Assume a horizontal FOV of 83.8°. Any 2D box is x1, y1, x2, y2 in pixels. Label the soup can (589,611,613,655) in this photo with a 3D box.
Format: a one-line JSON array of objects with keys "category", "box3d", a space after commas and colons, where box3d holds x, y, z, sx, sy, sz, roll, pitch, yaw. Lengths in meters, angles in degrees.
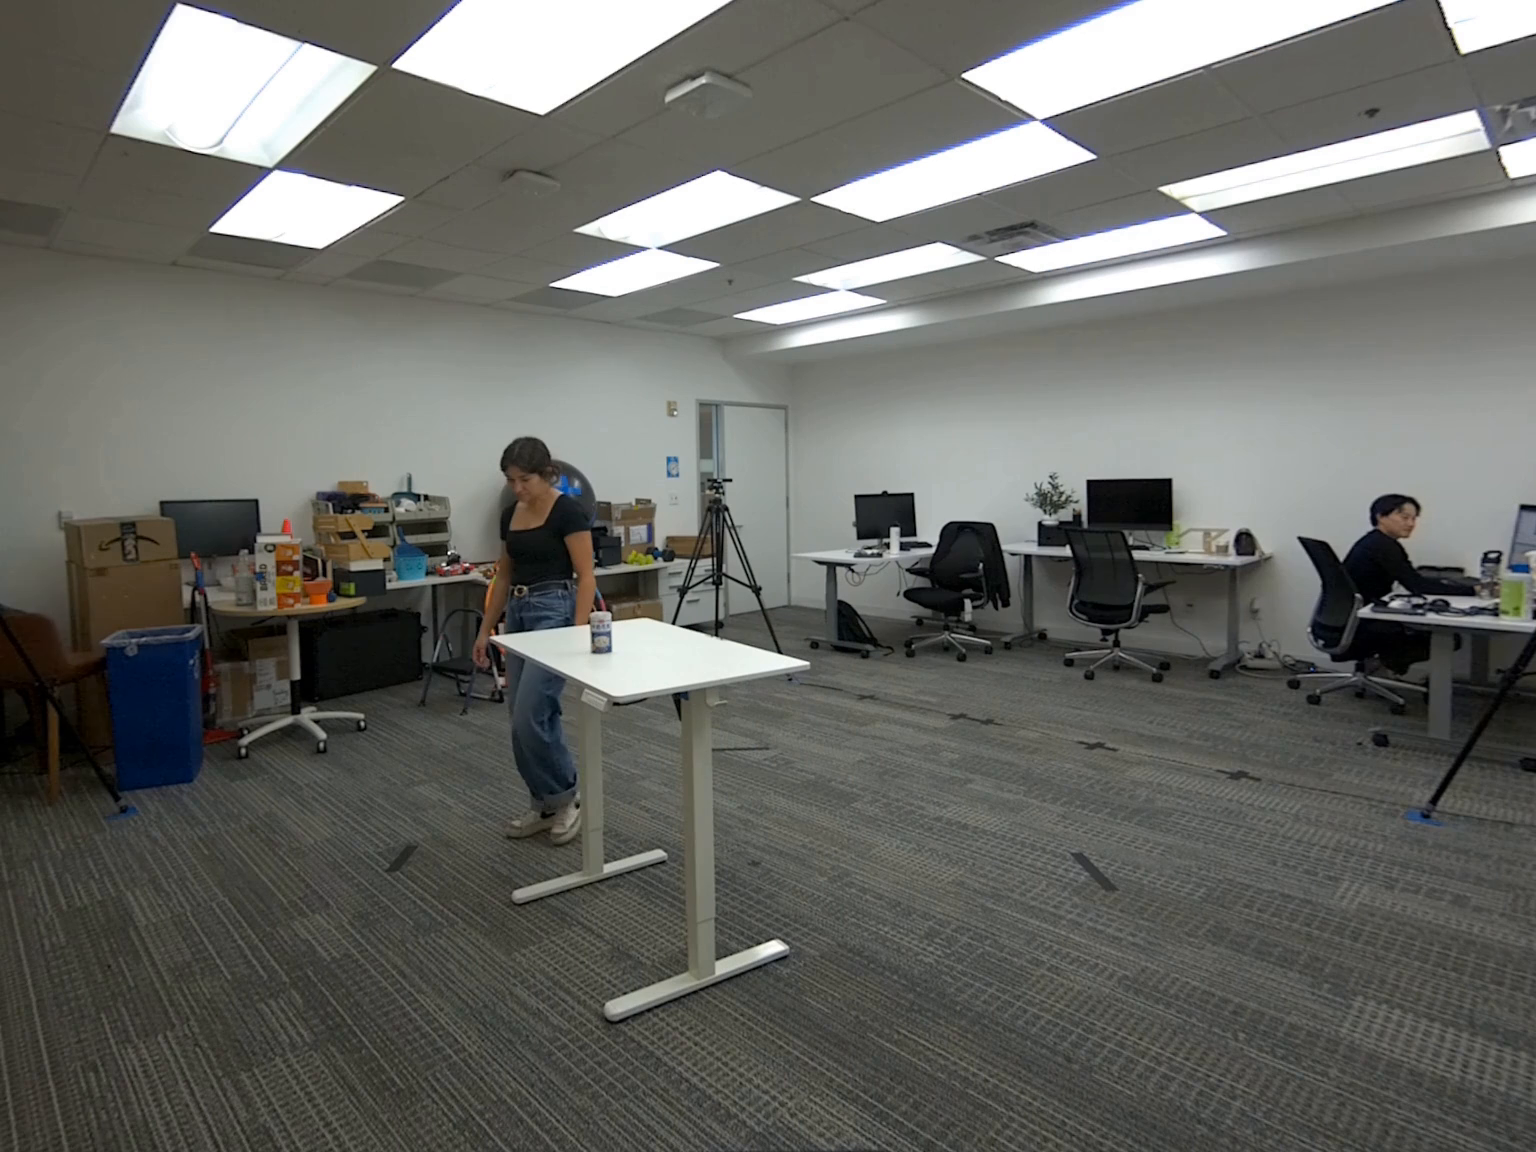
[{"category": "soup can", "box3d": [-0.502, 0.173, 2.587, 0.067, 0.121, 0.067, 0, 3, -2]}]
